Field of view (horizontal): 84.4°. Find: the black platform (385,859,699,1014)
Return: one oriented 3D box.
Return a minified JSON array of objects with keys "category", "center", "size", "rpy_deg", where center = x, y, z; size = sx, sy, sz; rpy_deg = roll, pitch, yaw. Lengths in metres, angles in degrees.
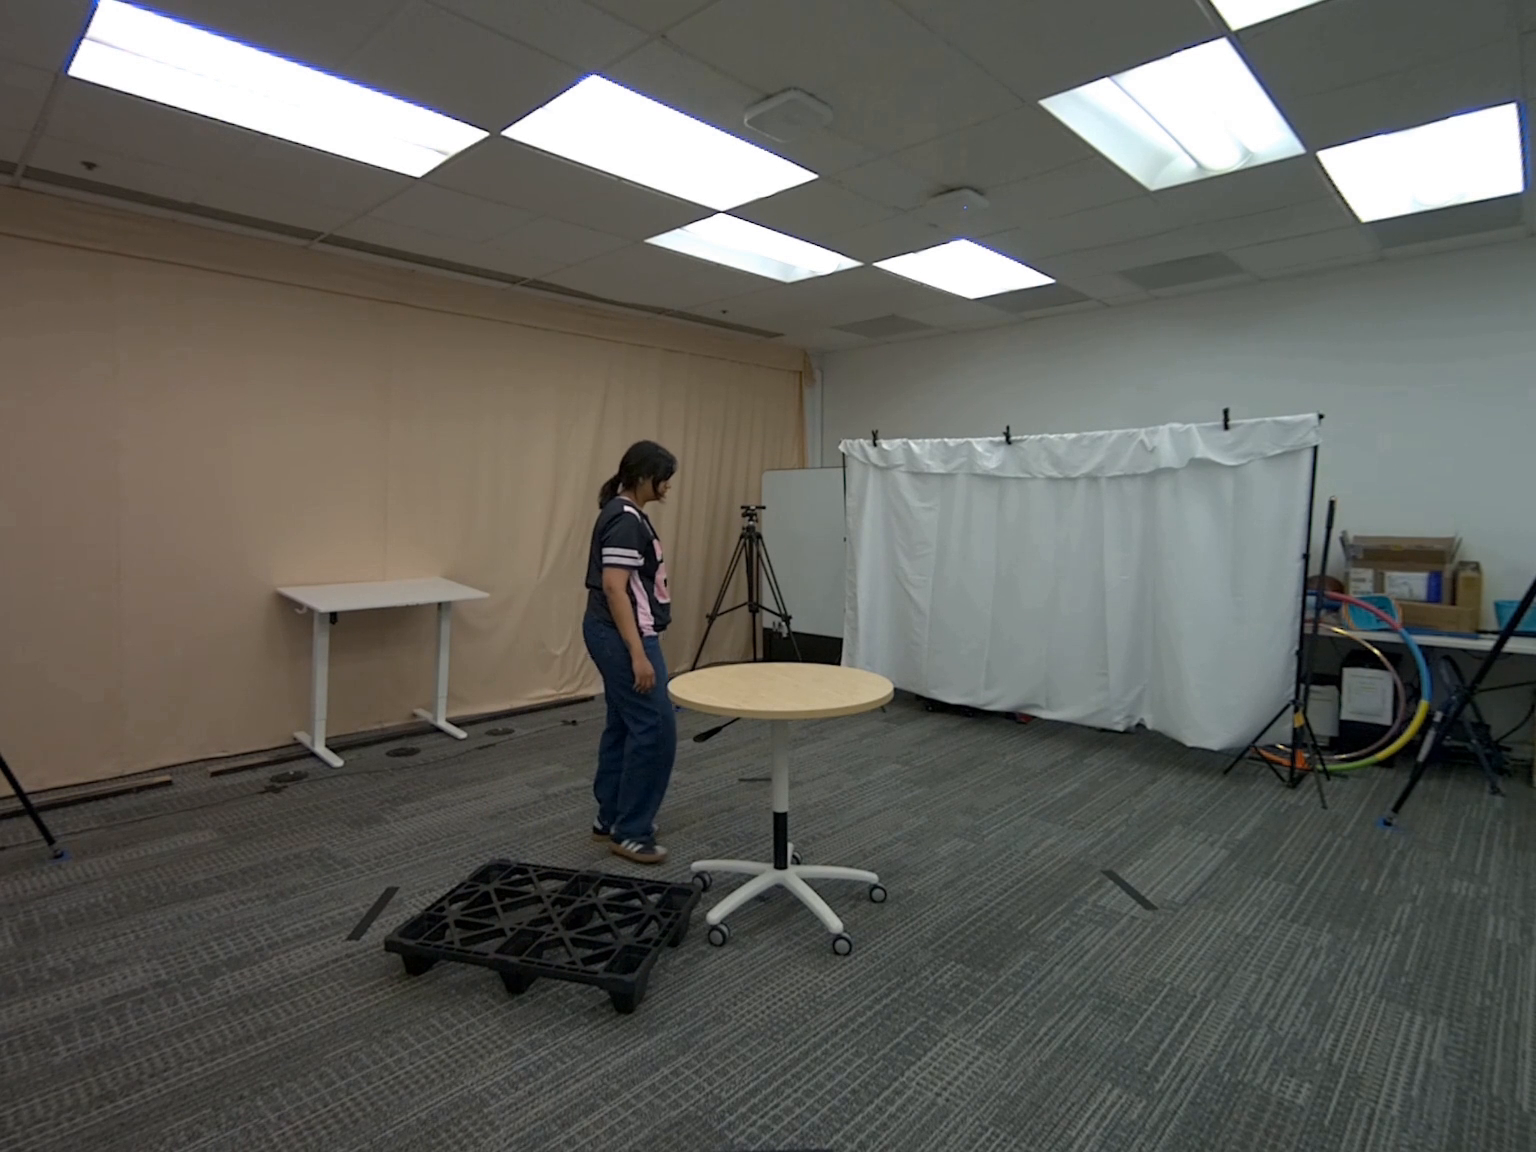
[{"category":"black platform","center":[-0.674,1.109,2.638],"size":[0.820,0.143,0.596],"rpy_deg":[1,4,16]}]
